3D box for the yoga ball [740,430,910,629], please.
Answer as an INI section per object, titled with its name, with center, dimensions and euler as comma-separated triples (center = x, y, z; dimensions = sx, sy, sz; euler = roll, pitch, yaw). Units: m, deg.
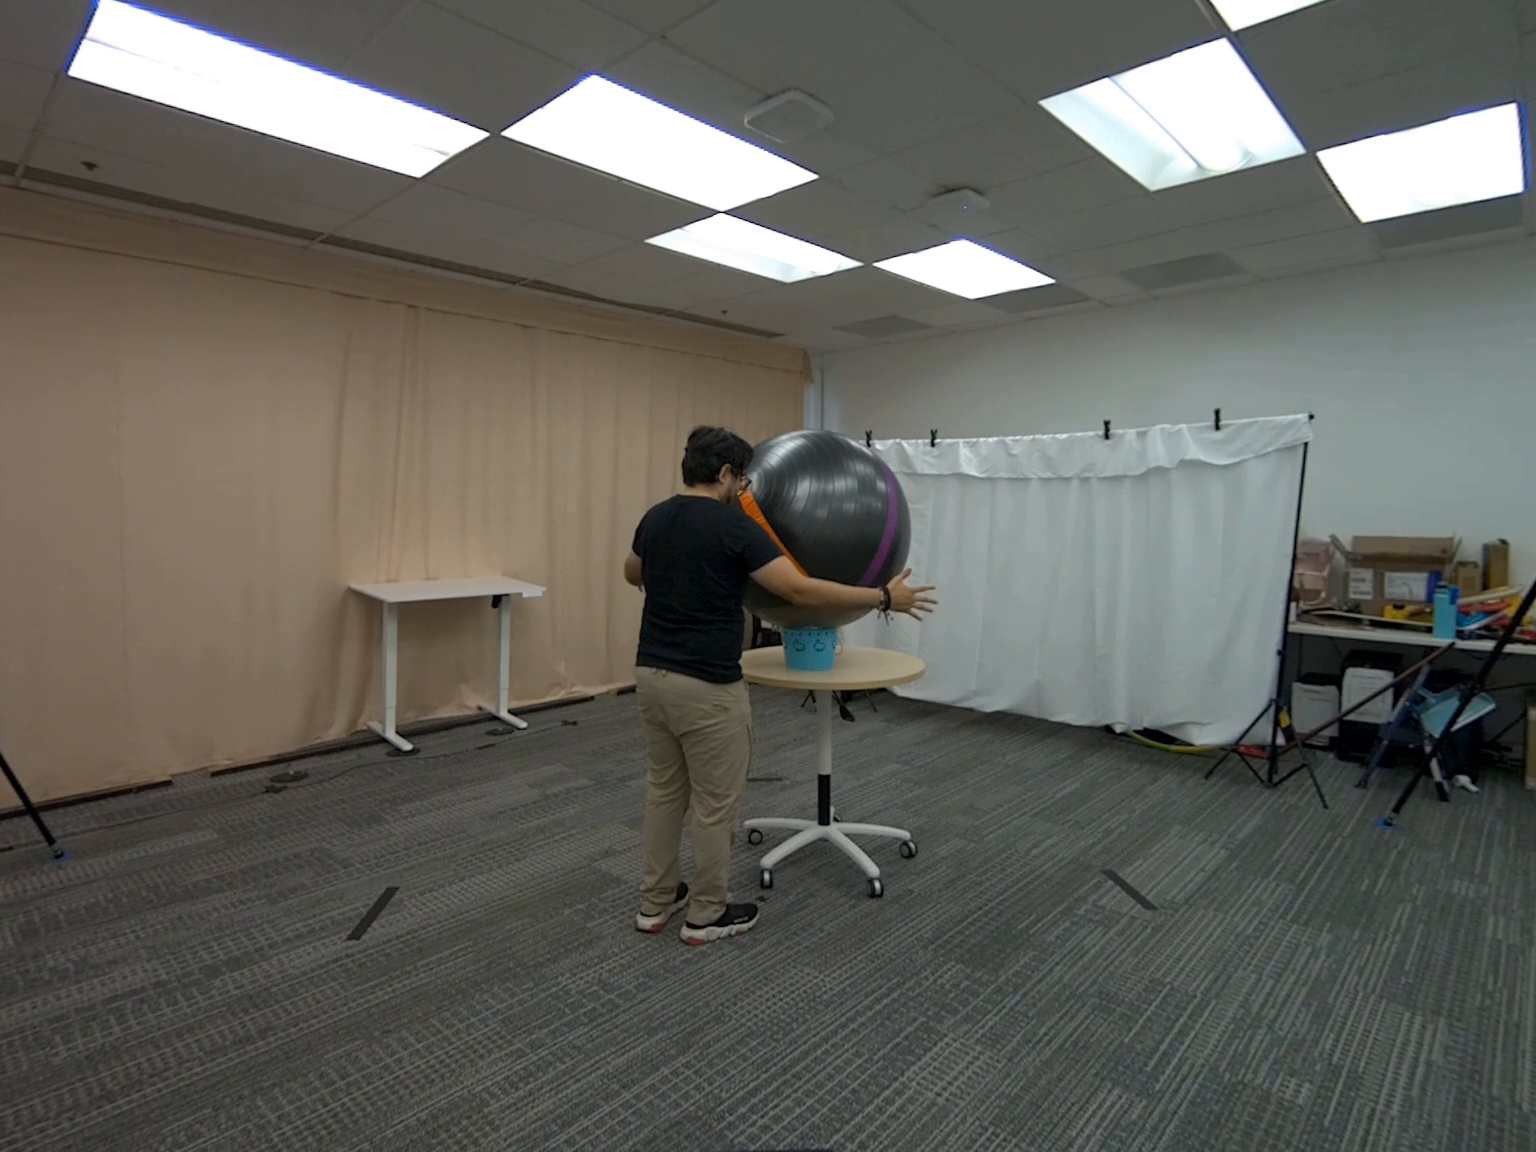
[yoga ball]
center = 0.154, -0.166, 3.180
dimensions = 0.757, 0.756, 0.760
euler = 0, 4, -2
